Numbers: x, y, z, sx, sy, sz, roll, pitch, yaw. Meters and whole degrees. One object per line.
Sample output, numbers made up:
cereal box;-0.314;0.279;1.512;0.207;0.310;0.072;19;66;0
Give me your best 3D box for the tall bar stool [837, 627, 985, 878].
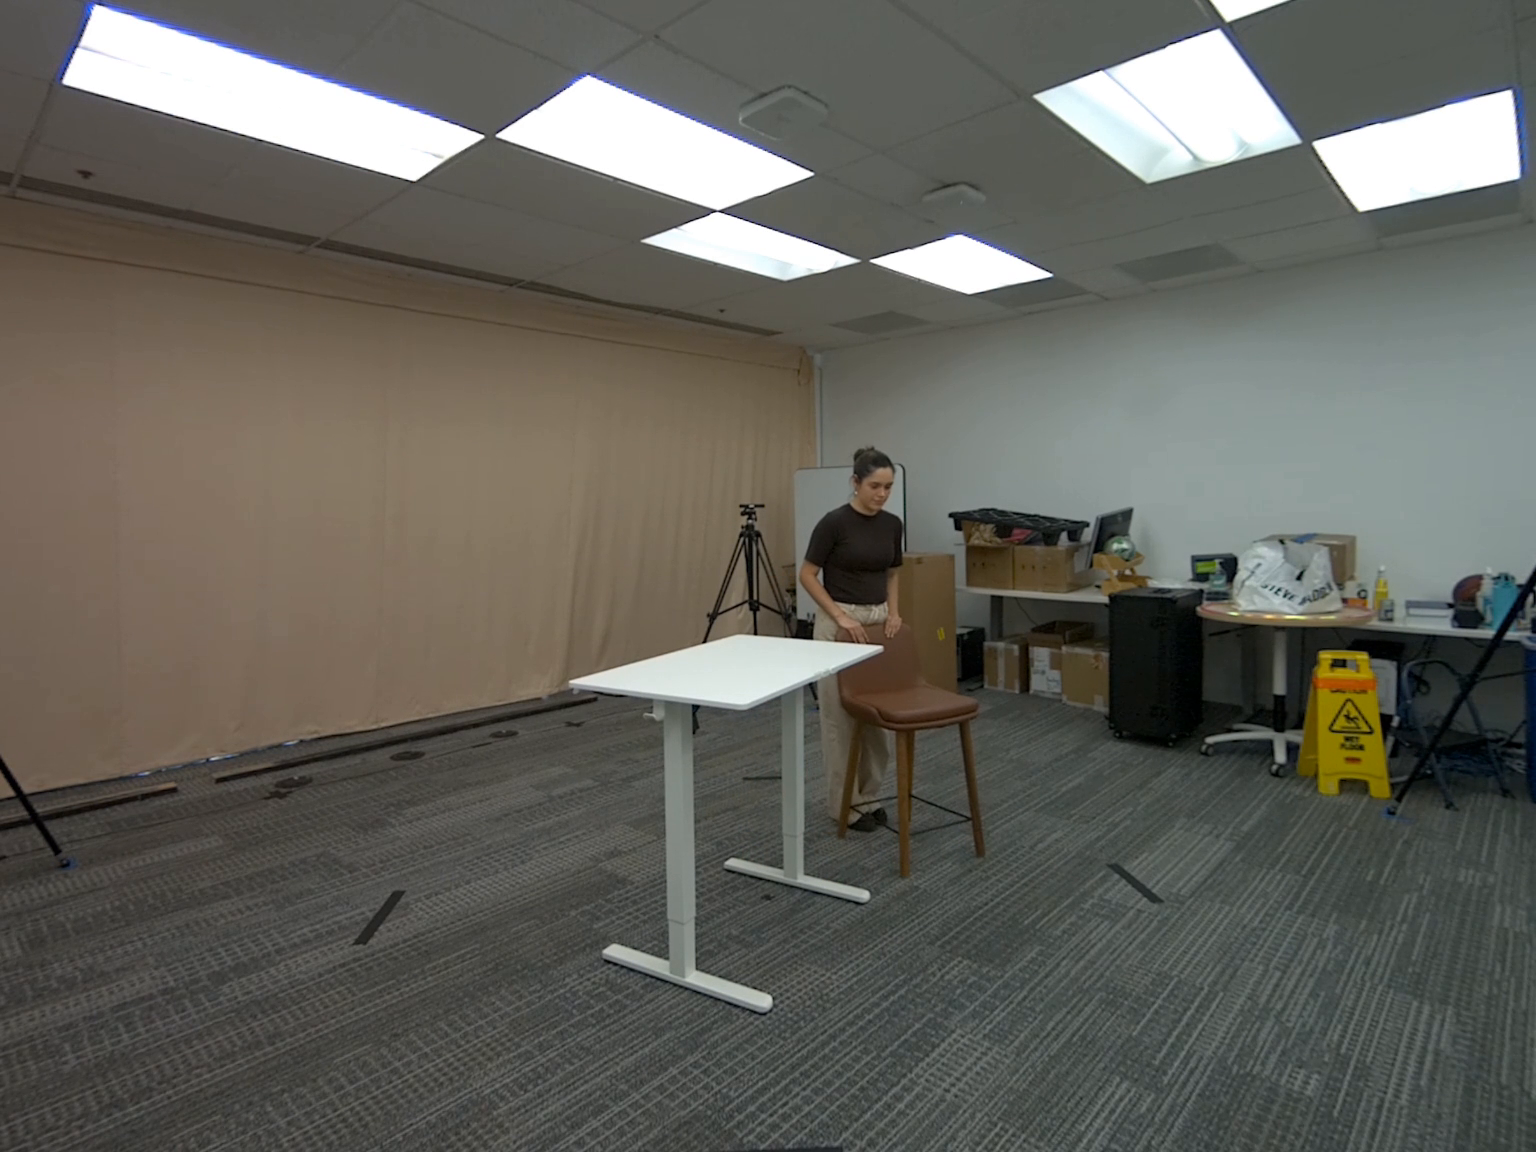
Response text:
tall bar stool;0.561;0.659;3.385;0.445;0.889;0.480;-2;2;-29
